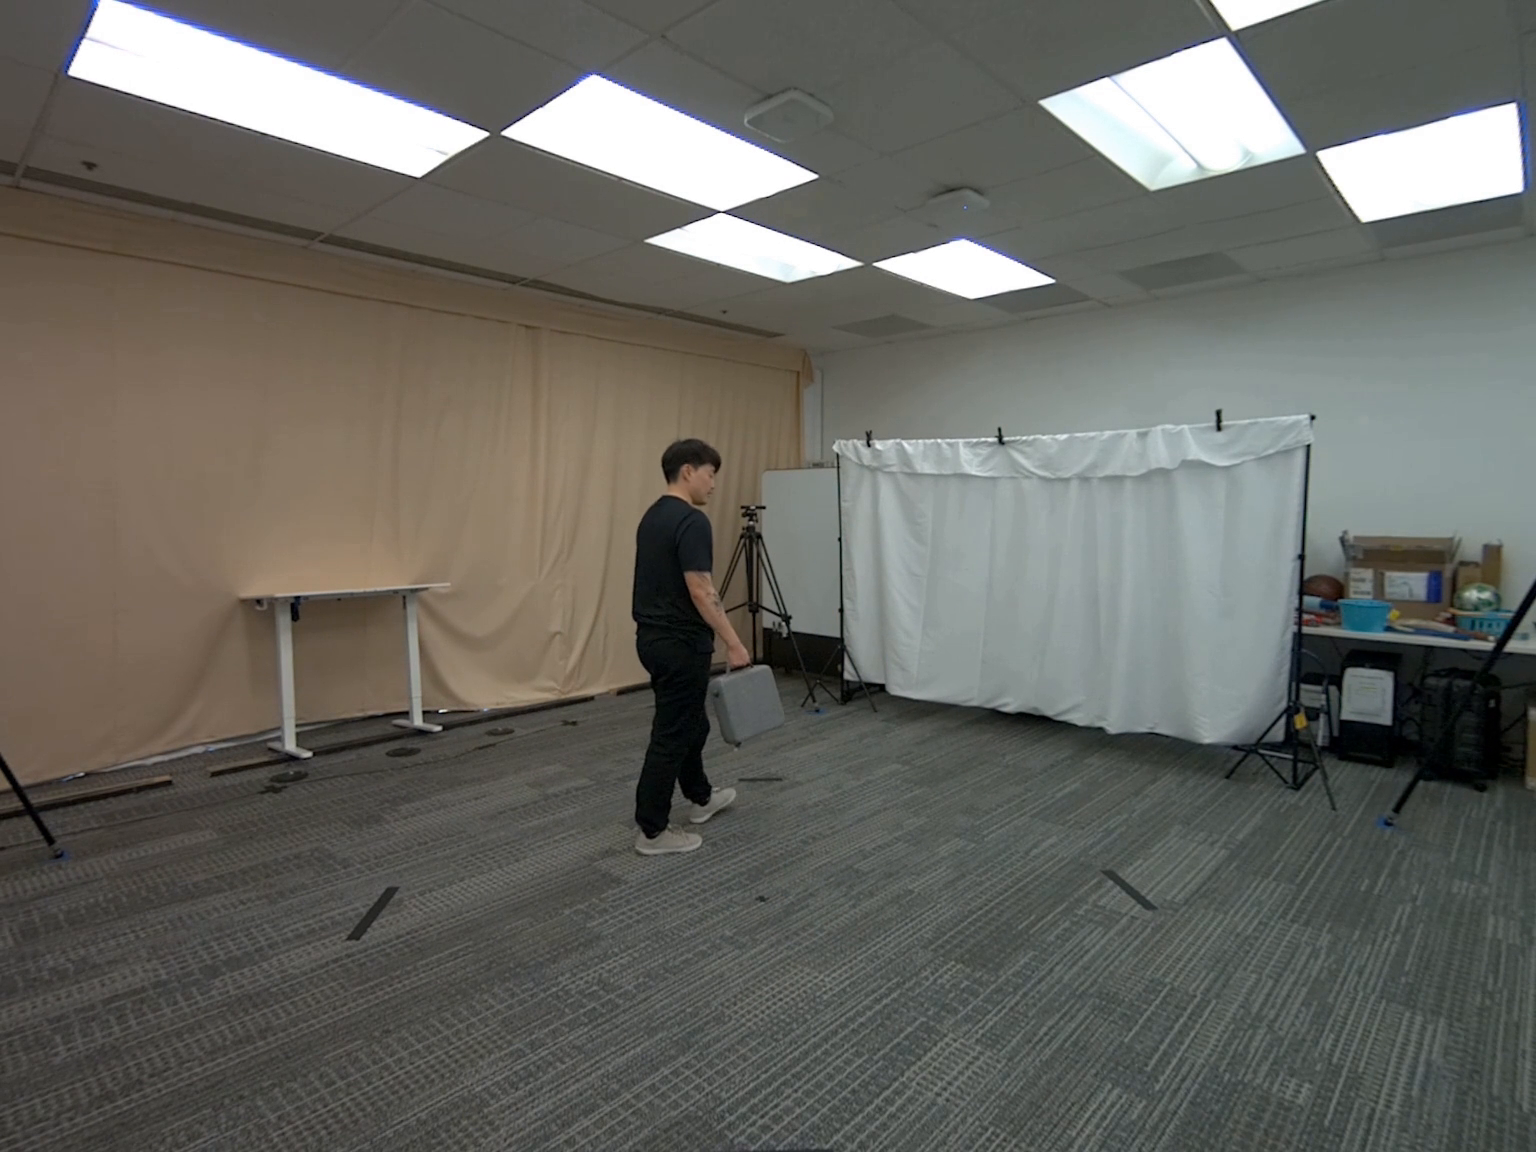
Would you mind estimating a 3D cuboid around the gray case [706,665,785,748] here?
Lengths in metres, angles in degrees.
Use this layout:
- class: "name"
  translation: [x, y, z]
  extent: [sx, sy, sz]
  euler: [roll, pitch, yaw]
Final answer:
- class: "gray case"
  translation: [-0.087, 0.486, 3.232]
  extent: [0.251, 0.261, 0.106]
  euler: [-15, -2, -32]
